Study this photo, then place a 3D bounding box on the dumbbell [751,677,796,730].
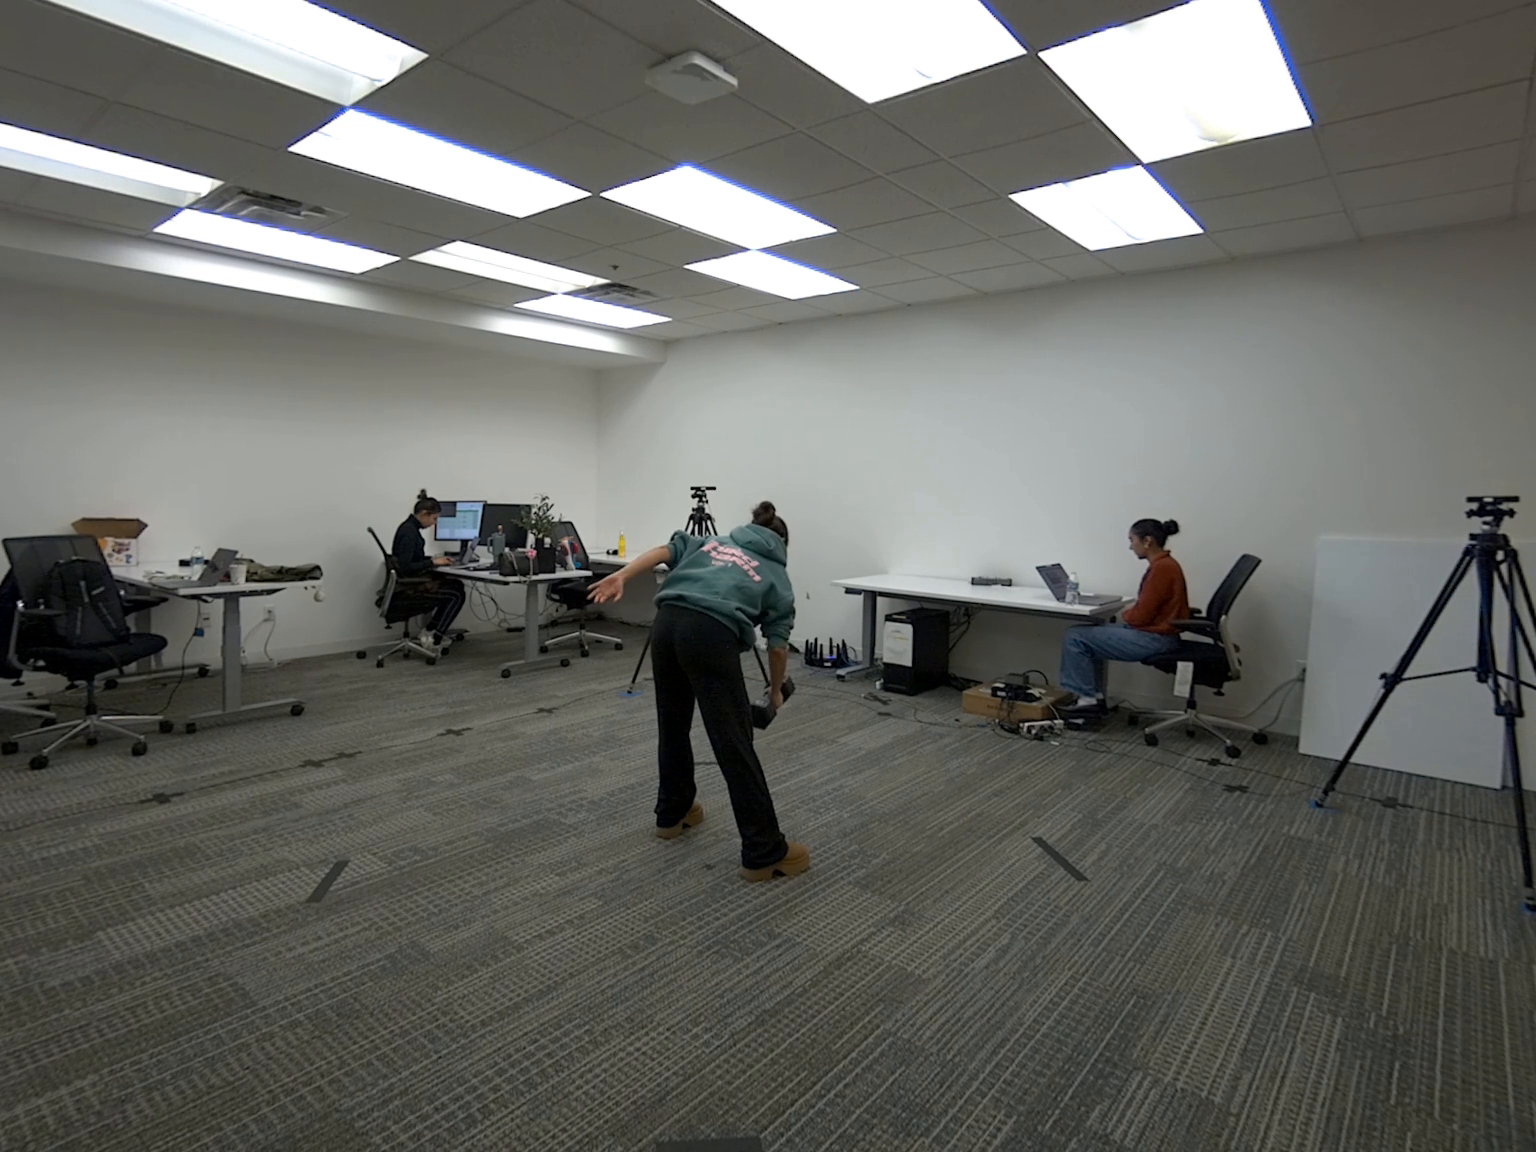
[{"bbox_3d":[-0.002,0.505,3.498,0.126,0.106,0.292,11,26,20],"label":"dumbbell"}]
